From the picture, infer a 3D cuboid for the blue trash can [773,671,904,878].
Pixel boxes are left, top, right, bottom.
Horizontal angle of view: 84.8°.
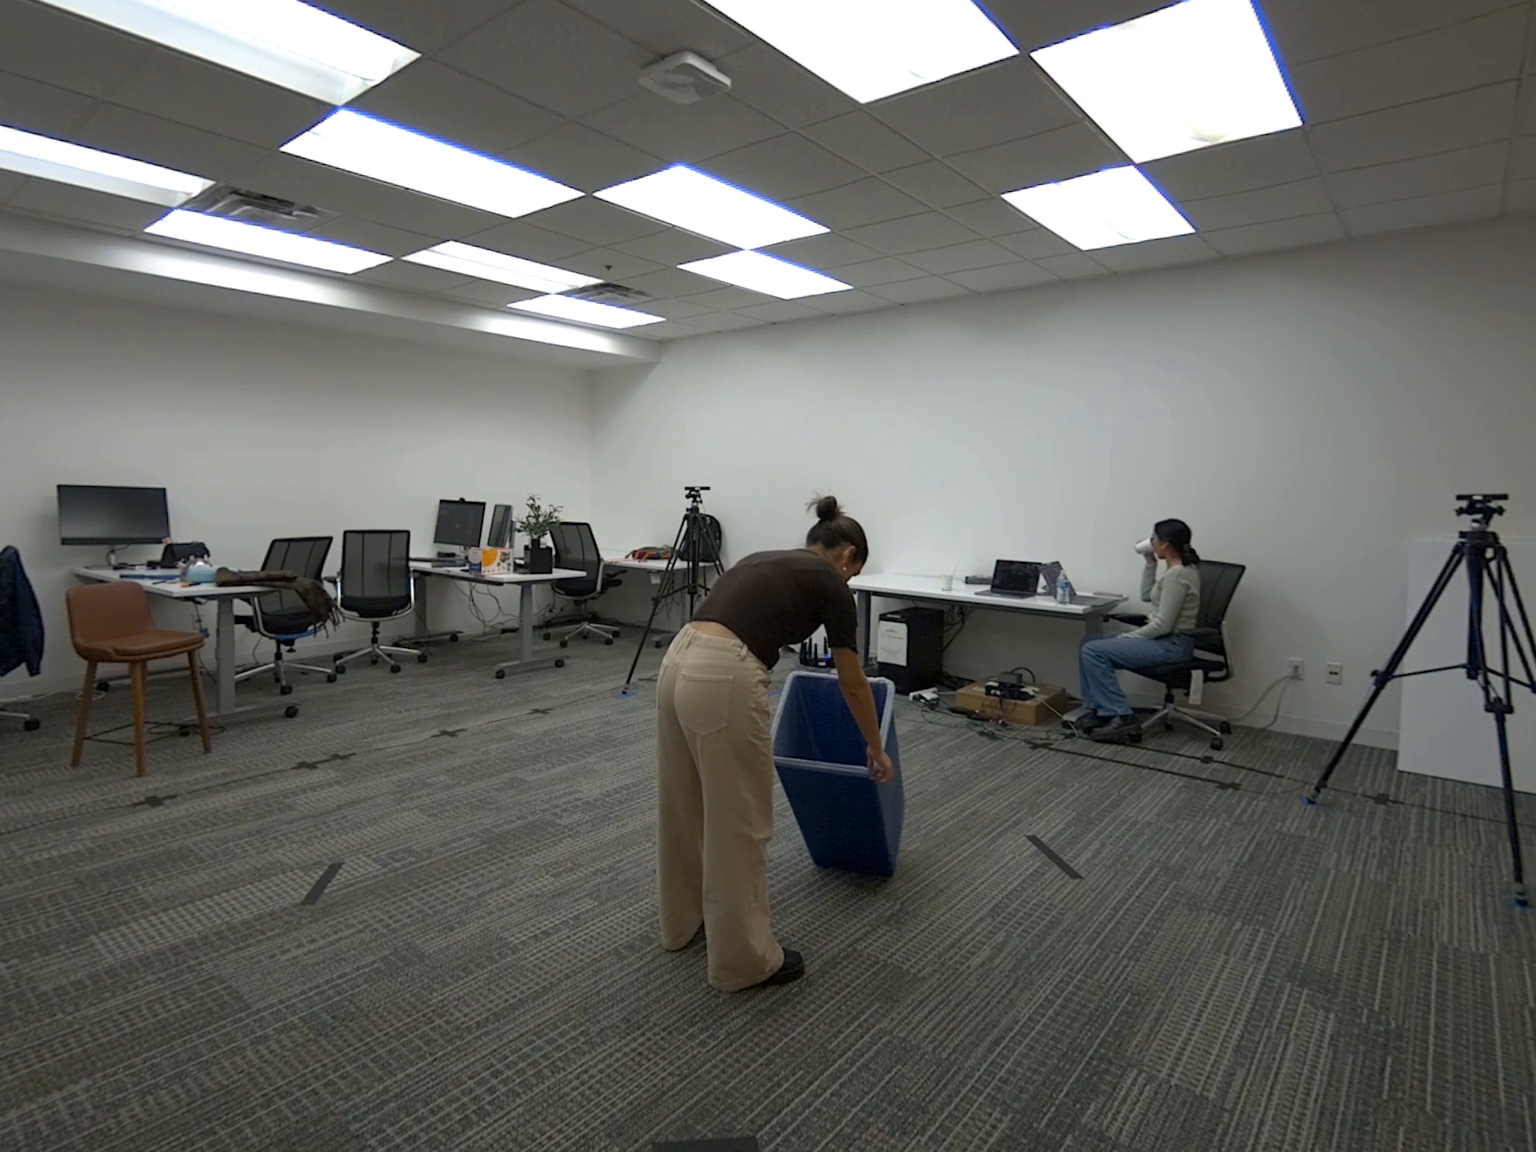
[{"bbox_3d":[0.268,0.719,2.974,0.387,0.688,0.379,2,42,21],"label":"blue trash can"}]
